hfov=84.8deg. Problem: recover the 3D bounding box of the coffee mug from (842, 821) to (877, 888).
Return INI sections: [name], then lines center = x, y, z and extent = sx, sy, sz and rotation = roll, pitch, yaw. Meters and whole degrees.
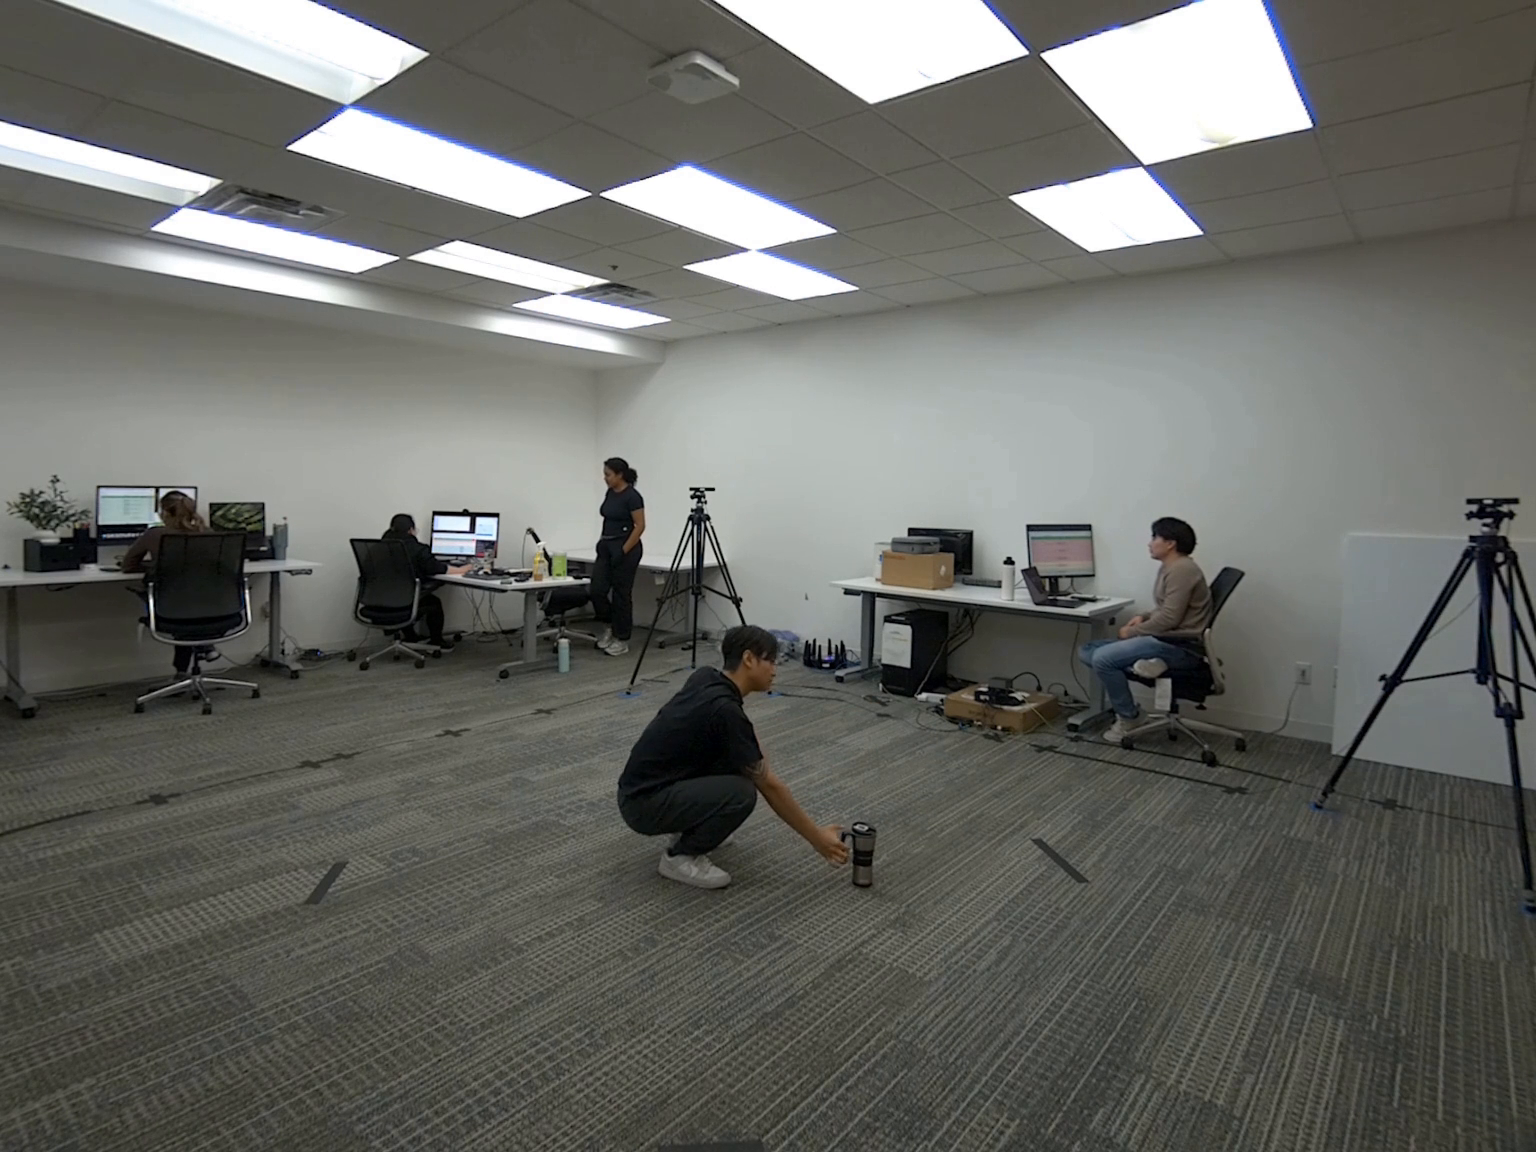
[coffee mug]
center = 0.315, 0.993, 3.027
extent = 0.126, 0.201, 0.085
rotation = 8, 10, 38
